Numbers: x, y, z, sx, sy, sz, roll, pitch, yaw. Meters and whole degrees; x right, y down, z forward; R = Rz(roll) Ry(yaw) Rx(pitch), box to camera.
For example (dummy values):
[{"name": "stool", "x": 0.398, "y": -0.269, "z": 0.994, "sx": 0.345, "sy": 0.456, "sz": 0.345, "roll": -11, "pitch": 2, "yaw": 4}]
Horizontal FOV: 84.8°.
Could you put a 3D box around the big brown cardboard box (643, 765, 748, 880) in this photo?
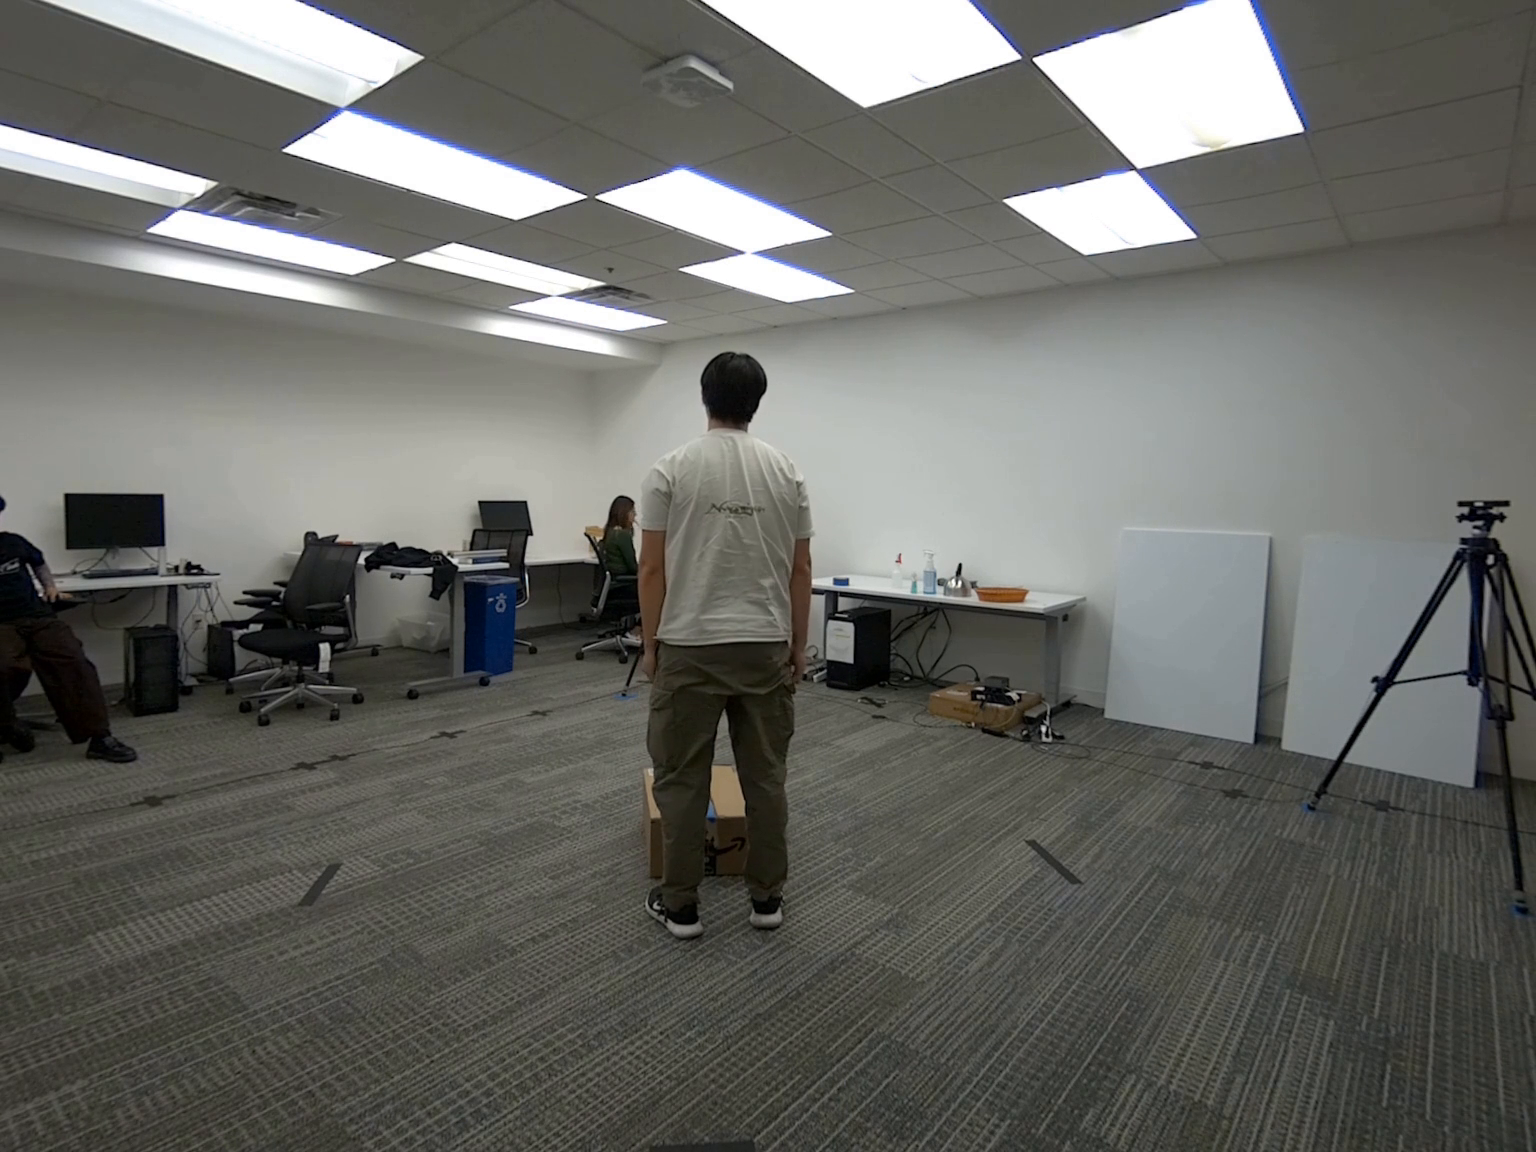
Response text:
[{"name": "big brown cardboard box", "x": -0.278, "y": 0.937, "z": 3.335, "sx": 0.414, "sy": 0.232, "sz": 0.597, "roll": 0, "pitch": 6, "yaw": -10}]
